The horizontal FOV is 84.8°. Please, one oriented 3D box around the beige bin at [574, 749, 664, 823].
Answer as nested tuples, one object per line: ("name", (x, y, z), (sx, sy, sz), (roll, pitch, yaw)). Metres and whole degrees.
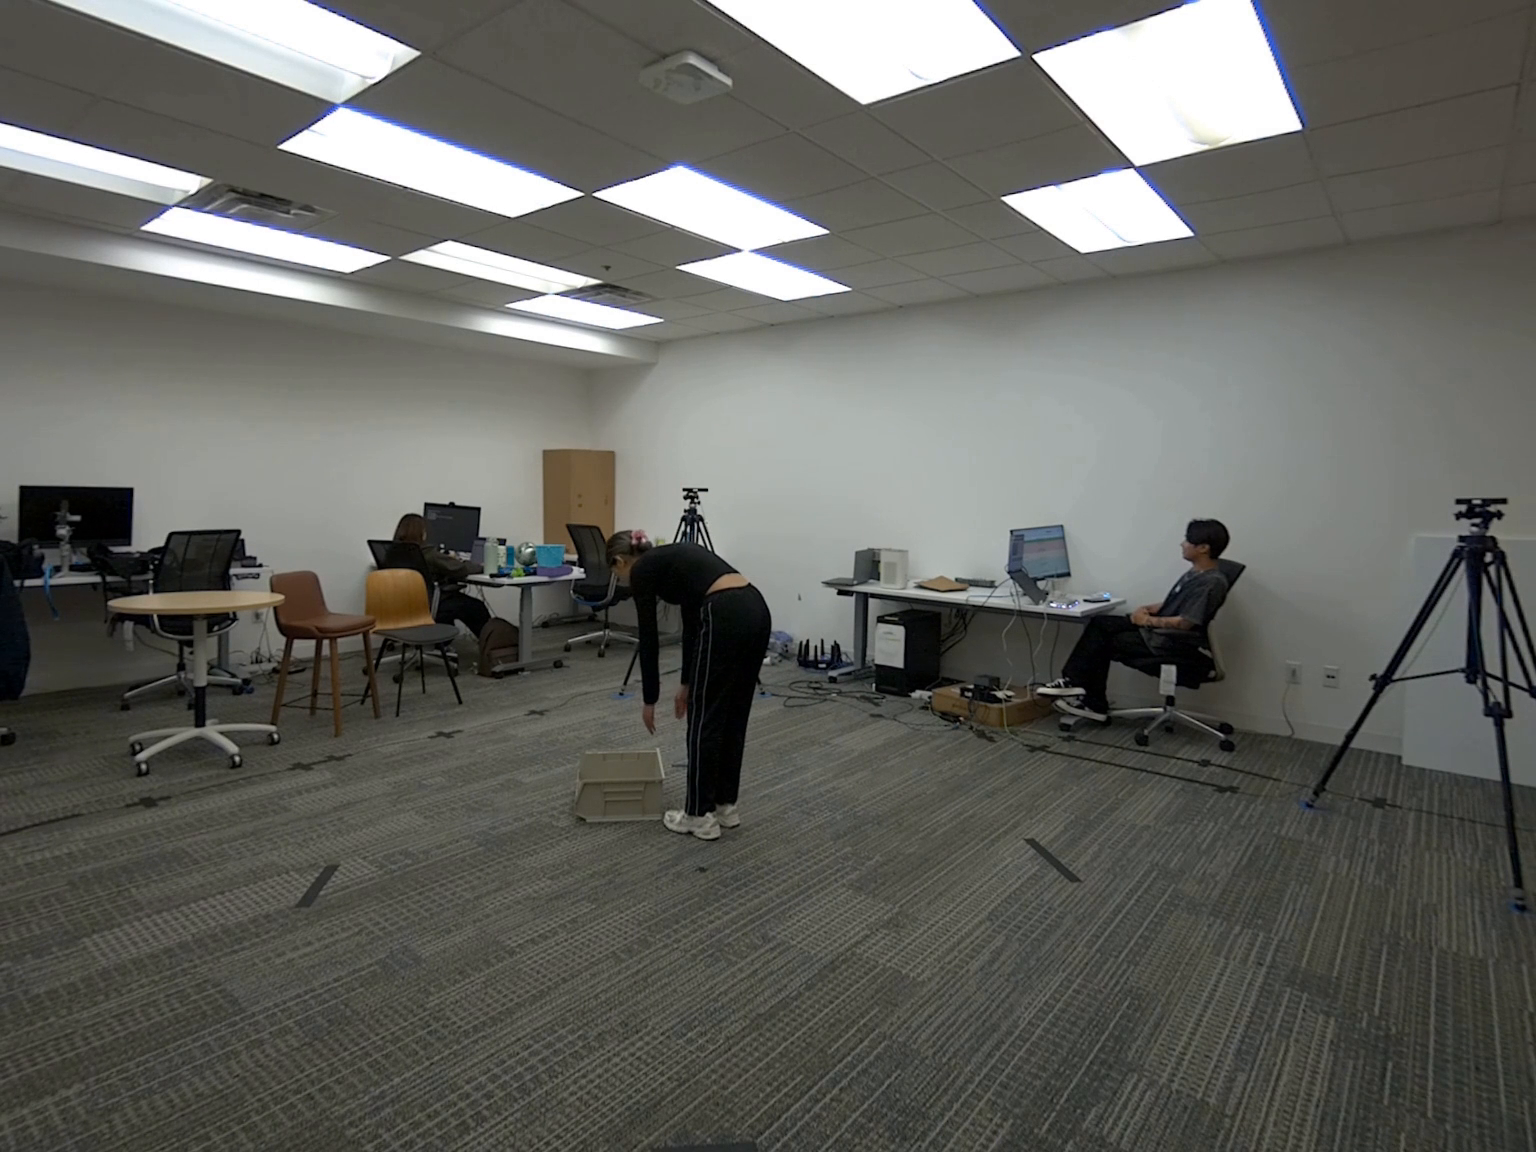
("beige bin", (-0.672, 0.916, 3.750), (0.373, 0.188, 0.428), (0, 4, -11))
